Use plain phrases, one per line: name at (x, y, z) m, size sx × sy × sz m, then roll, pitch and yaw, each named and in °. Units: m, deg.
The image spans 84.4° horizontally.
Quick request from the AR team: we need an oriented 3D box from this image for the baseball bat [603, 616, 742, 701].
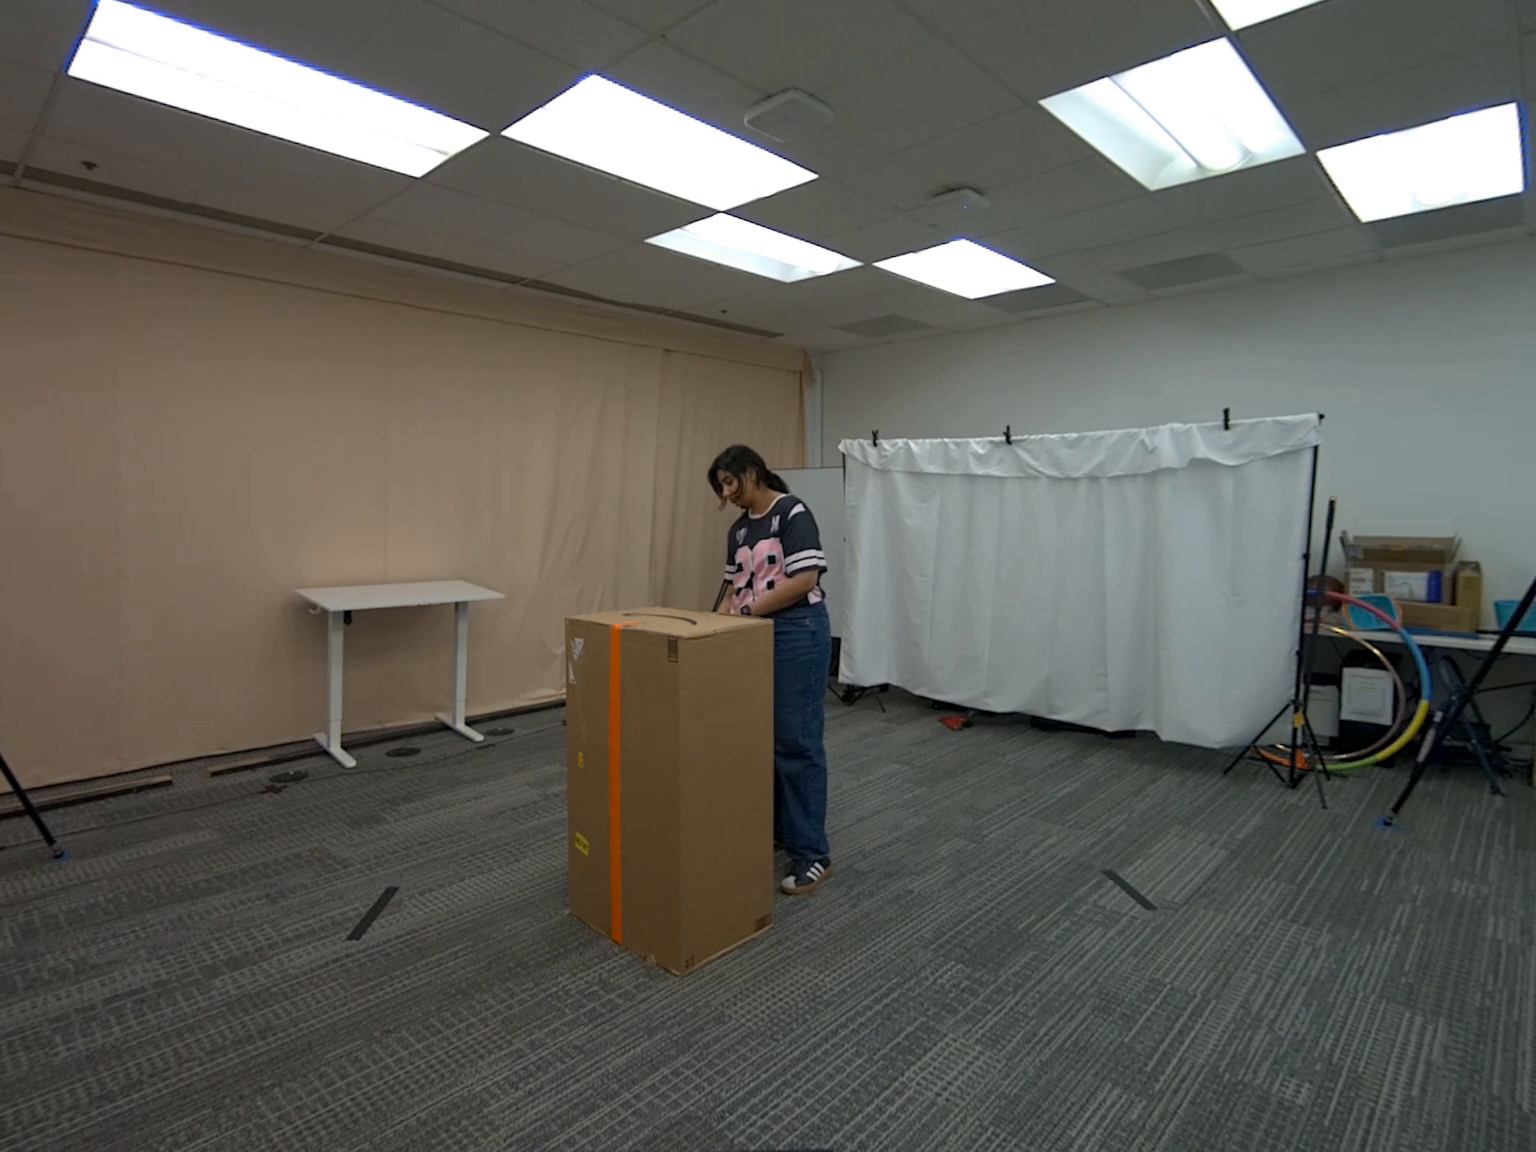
baseball bat at (-0.371, 0.318, 3.273) m, size 0.546 × 0.089 × 0.088 m, roll -26°, pitch 1°, yaw 8°
